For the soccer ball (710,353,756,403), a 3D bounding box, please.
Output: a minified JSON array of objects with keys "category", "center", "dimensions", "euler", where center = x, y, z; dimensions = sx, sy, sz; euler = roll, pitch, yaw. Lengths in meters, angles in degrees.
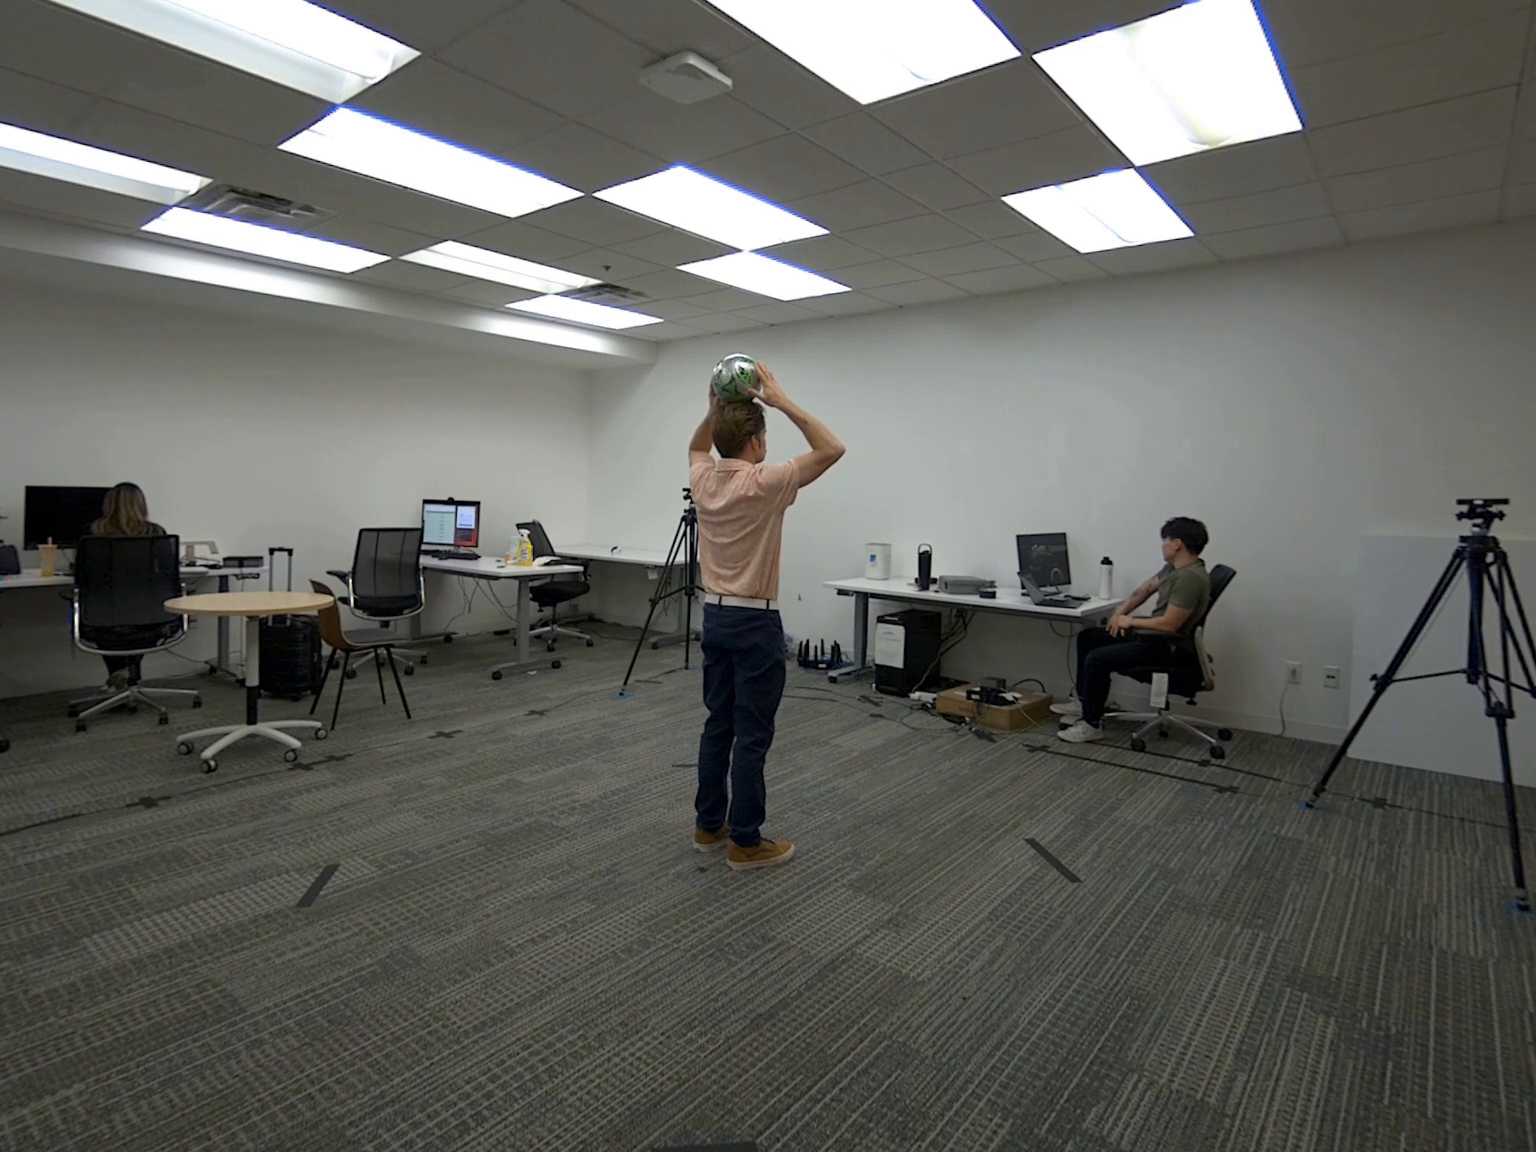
[{"category":"soccer ball","center":[-0.128,-0.724,3.157],"dimensions":[0.187,0.187,0.188],"euler":[1,4,-2]}]
